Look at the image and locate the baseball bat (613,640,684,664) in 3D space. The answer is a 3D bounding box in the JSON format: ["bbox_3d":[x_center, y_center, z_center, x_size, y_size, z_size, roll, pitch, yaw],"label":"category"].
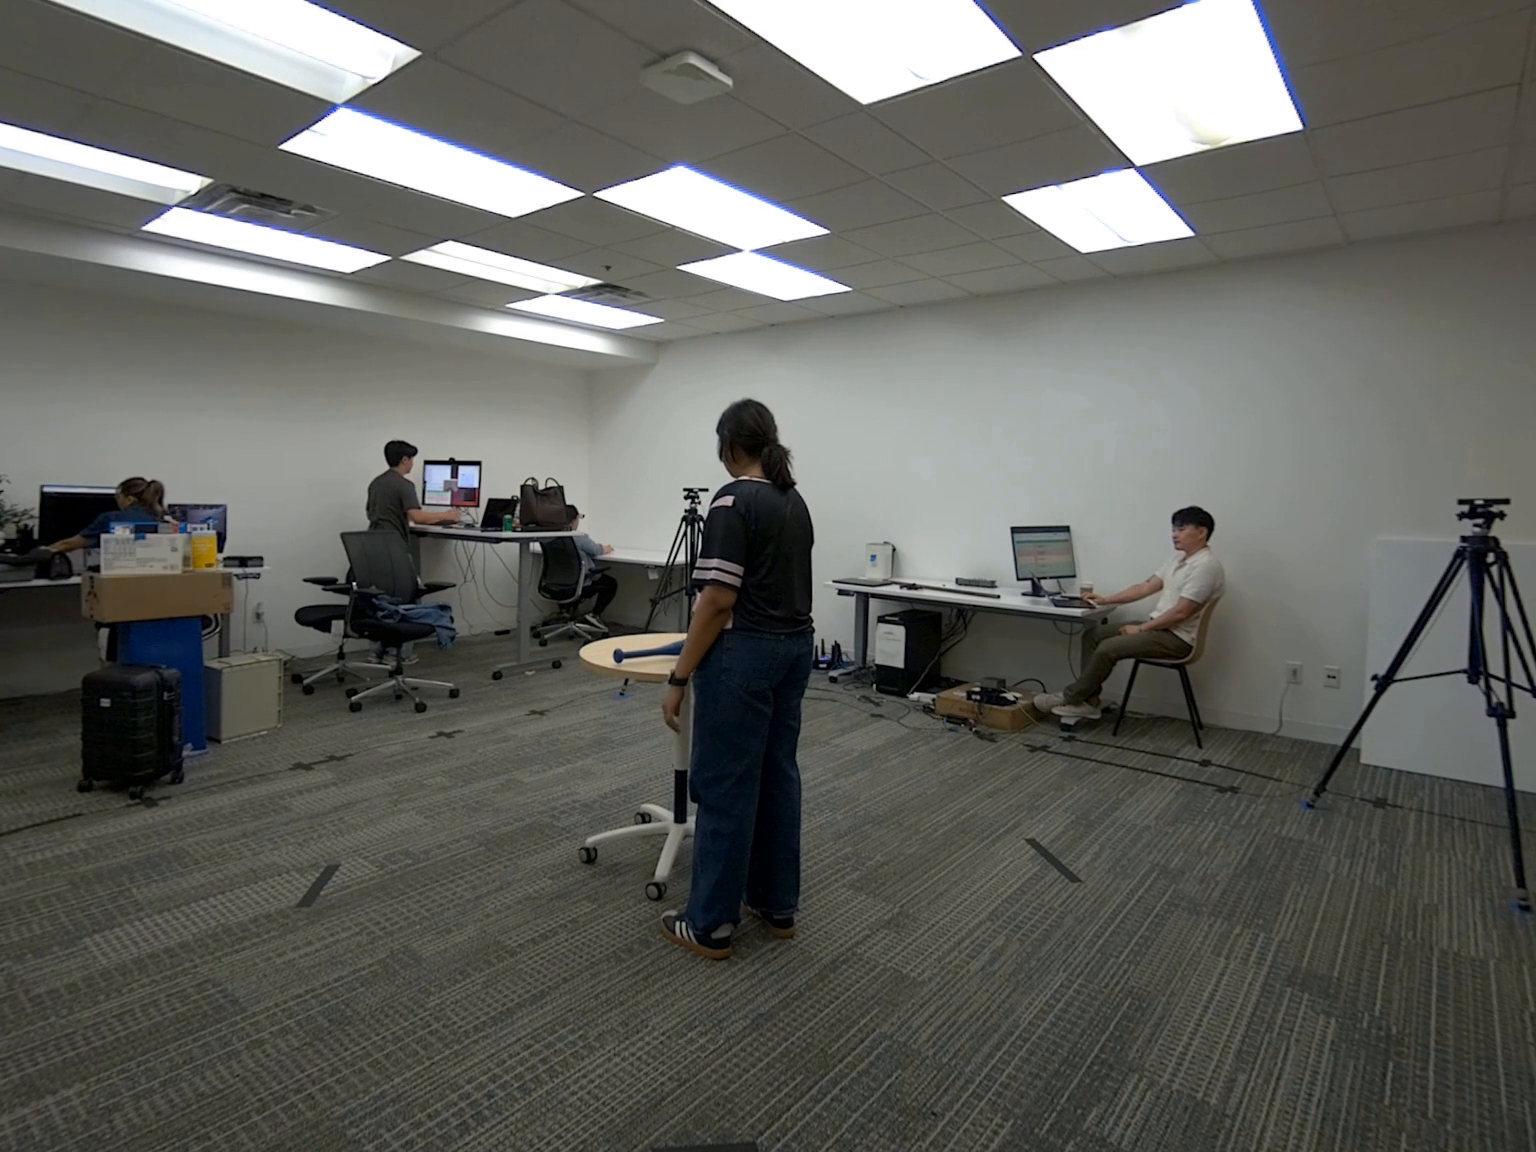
[{"bbox_3d":[-0.306,0.258,3.027,0.529,0.088,0.092,-5,7,-31],"label":"baseball bat"}]
